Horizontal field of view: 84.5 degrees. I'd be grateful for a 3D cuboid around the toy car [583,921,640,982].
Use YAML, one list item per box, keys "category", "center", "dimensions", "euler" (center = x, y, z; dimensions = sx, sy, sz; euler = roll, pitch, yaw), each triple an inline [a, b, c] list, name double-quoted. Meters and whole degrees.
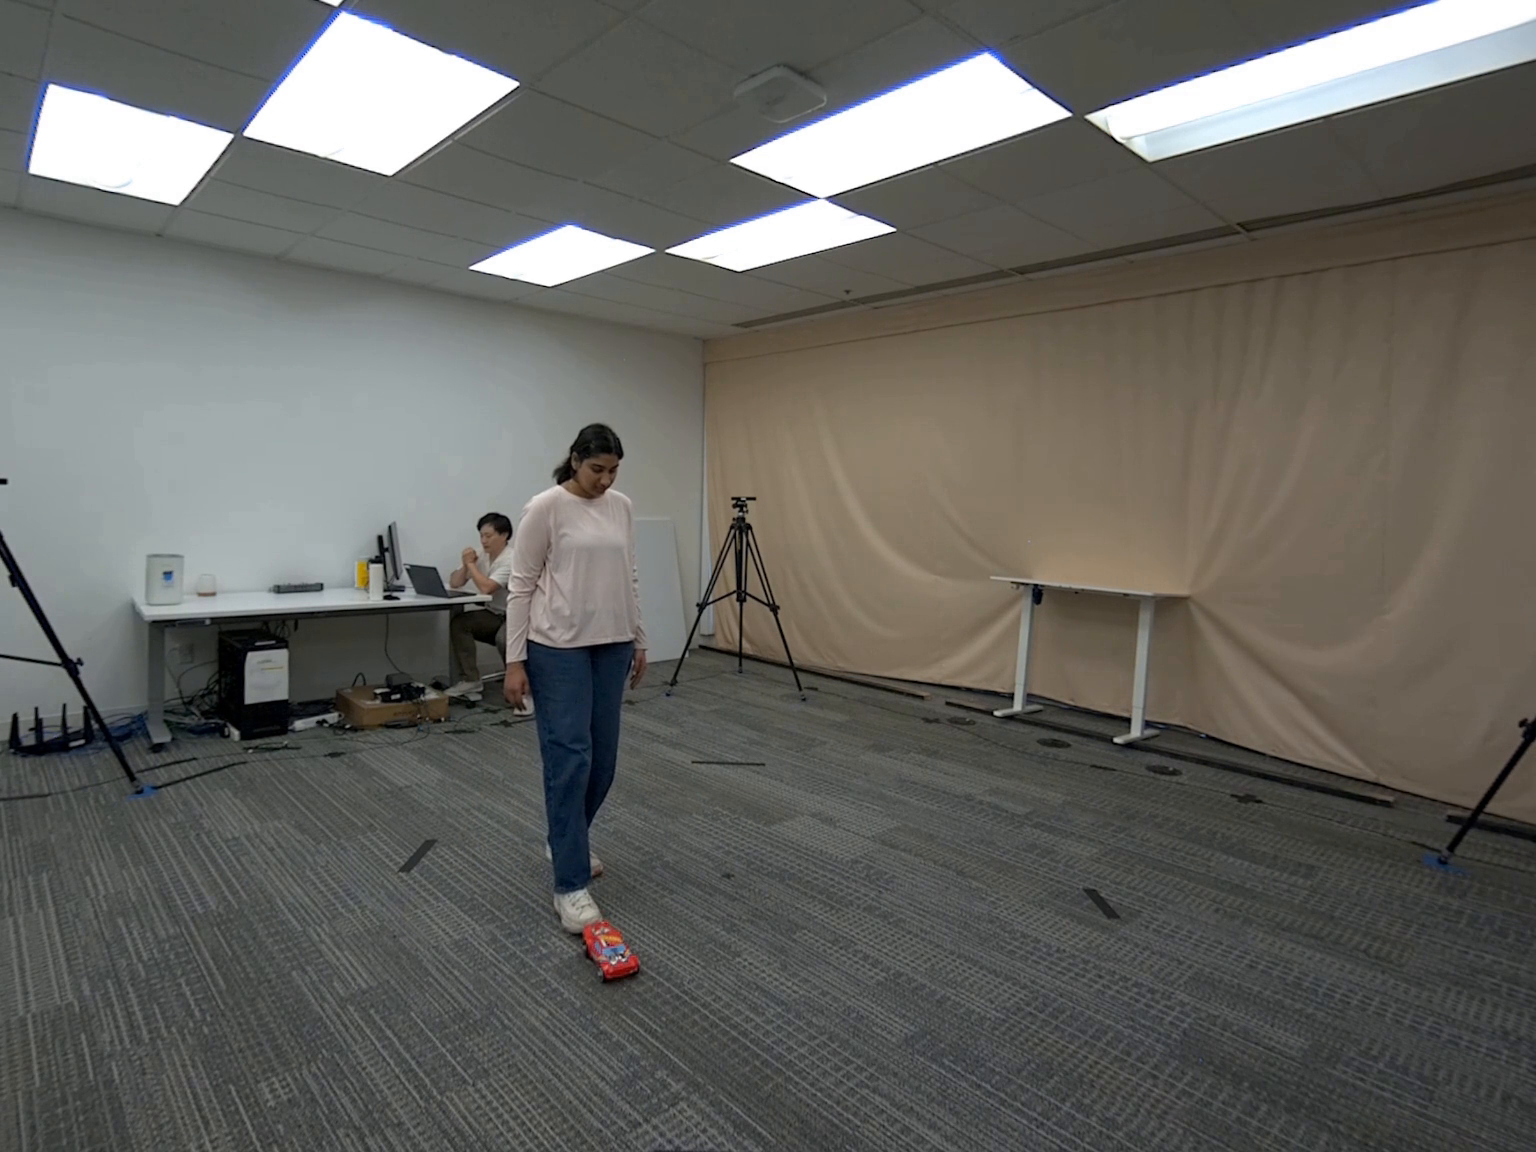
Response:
- category: "toy car"
  center: [-0.486, 1.120, 2.515]
  dimensions: [0.128, 0.082, 0.262]
  euler: [-2, 17, -28]
